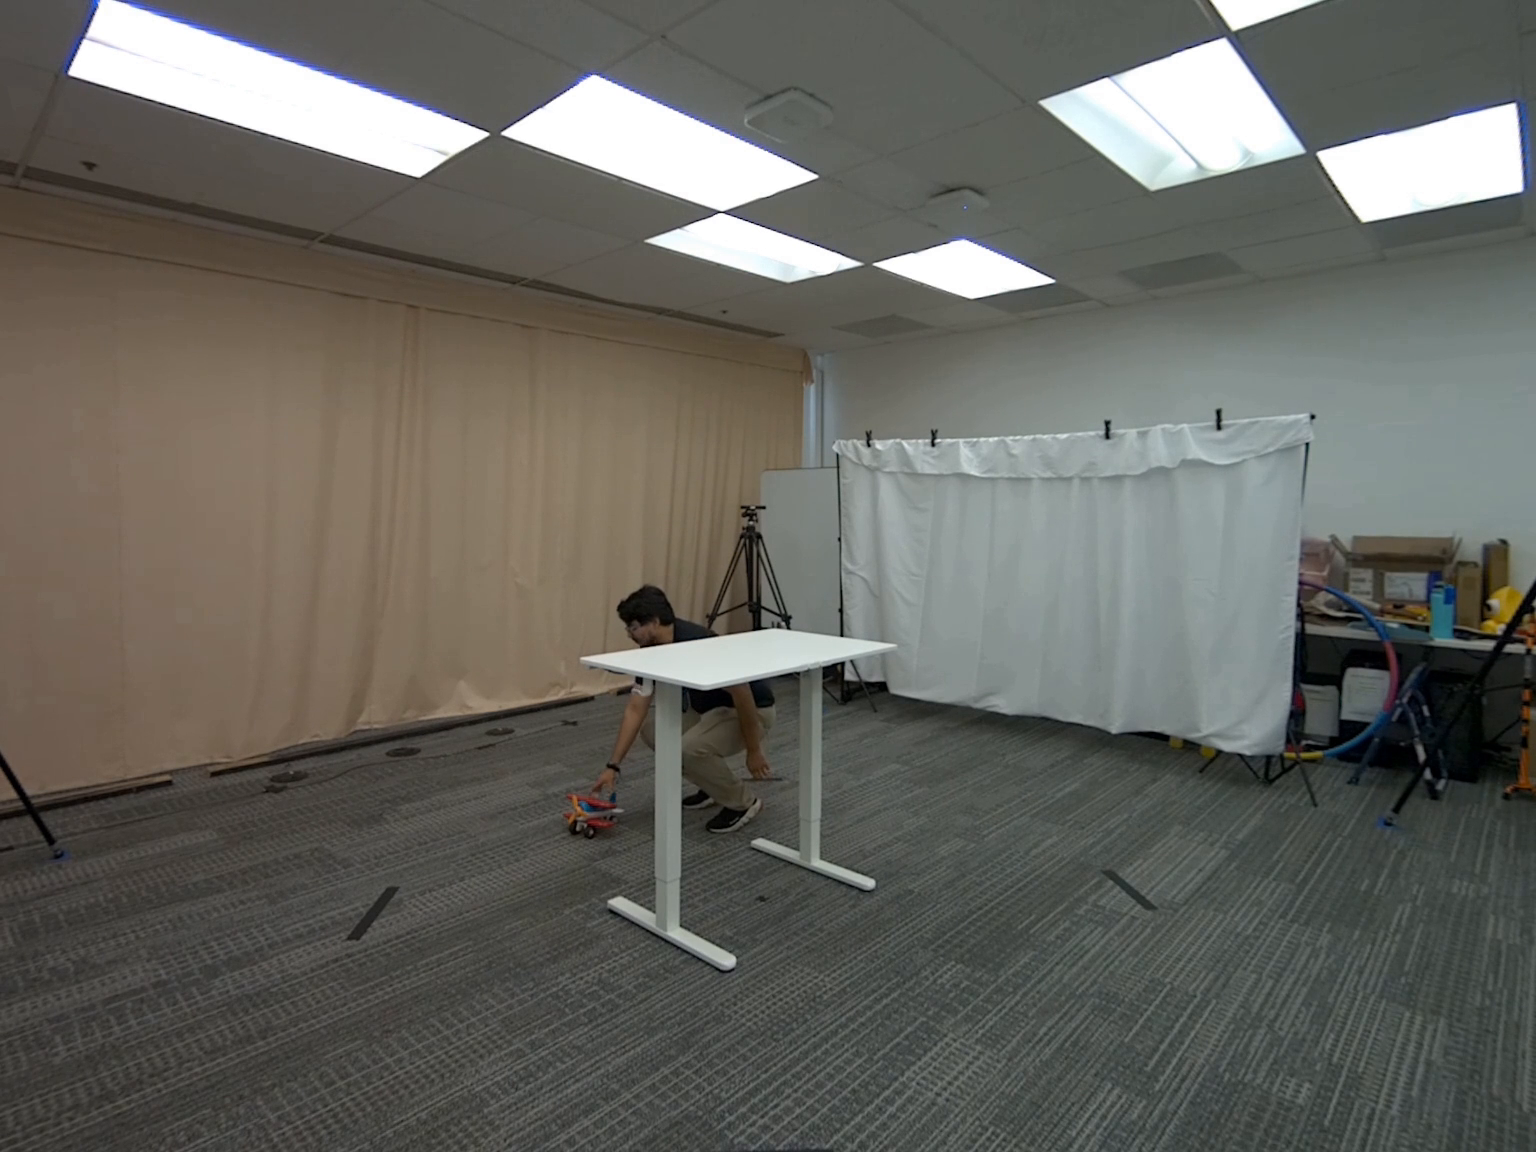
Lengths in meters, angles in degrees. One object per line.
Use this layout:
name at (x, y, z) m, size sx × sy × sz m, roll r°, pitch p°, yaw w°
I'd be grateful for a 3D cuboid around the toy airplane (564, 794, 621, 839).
toy airplane at (-0.766, 1.020, 3.648) m, size 0.252 × 0.156 × 0.259 m, roll -1°, pitch 6°, yaw 3°
